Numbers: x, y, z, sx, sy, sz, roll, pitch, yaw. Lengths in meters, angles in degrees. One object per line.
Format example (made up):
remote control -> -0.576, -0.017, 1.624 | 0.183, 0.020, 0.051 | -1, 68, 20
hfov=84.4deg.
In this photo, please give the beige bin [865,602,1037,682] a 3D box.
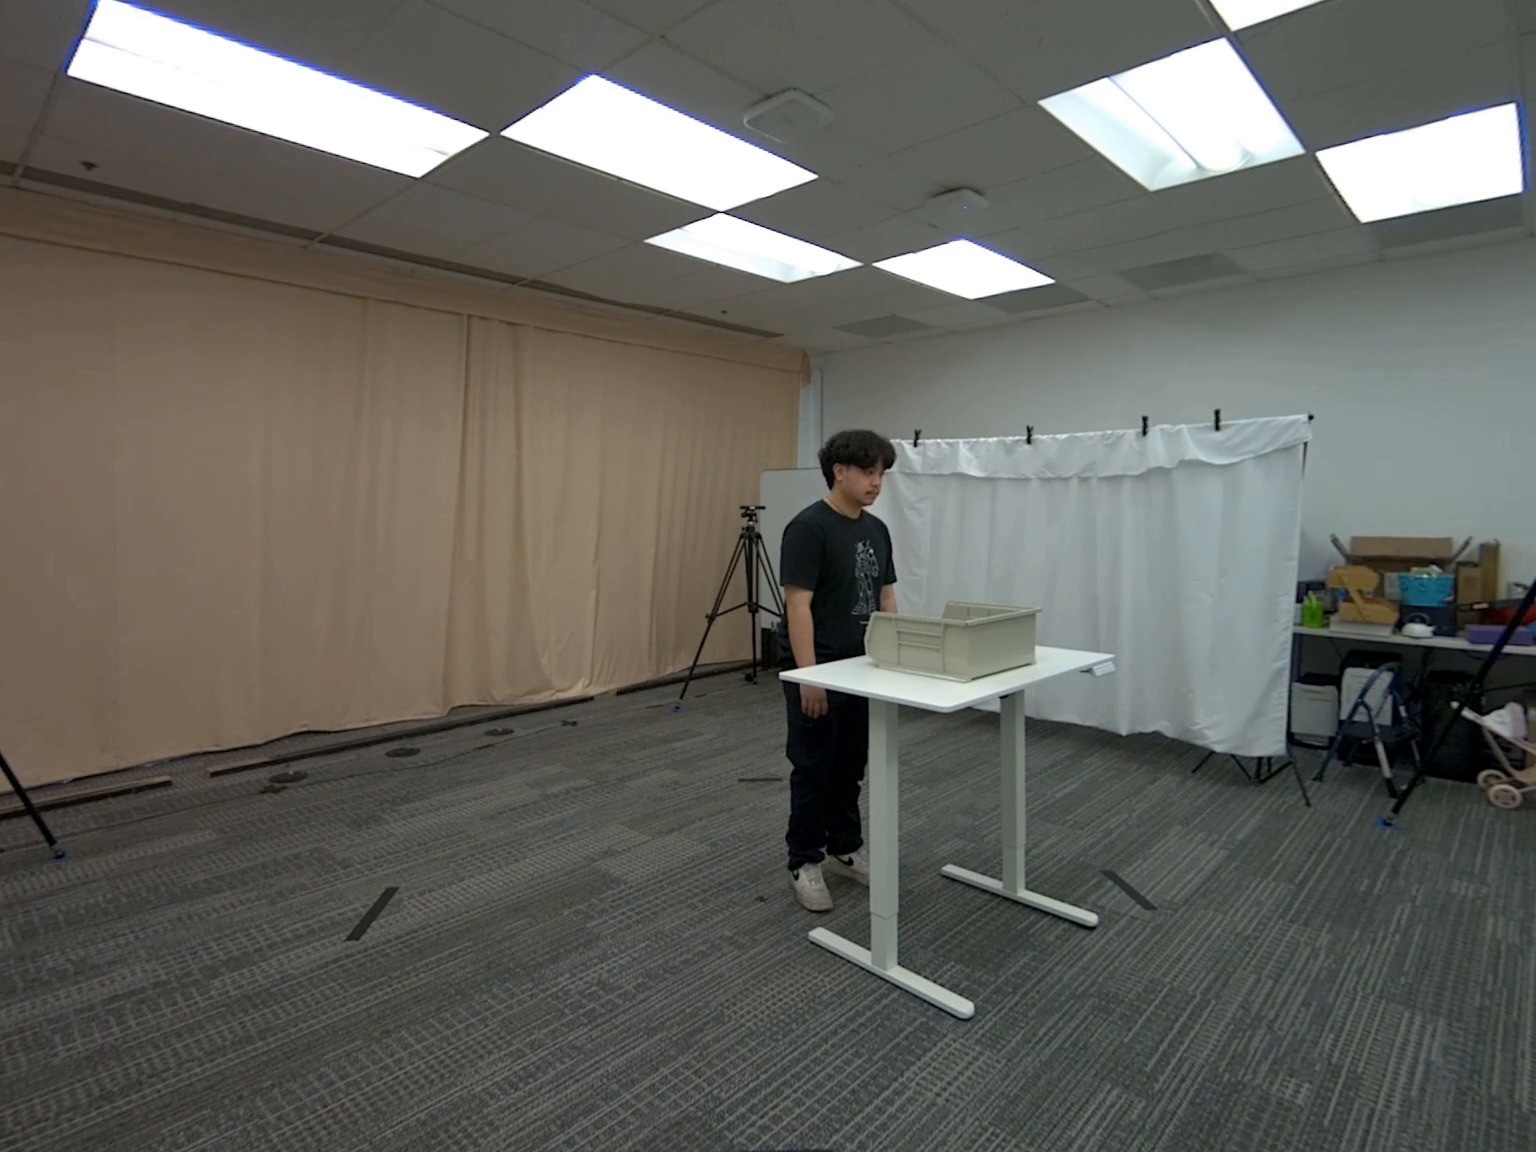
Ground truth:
beige bin -> 0.583, 0.195, 2.678 | 0.409, 0.188, 0.390 | -4, 6, -42
